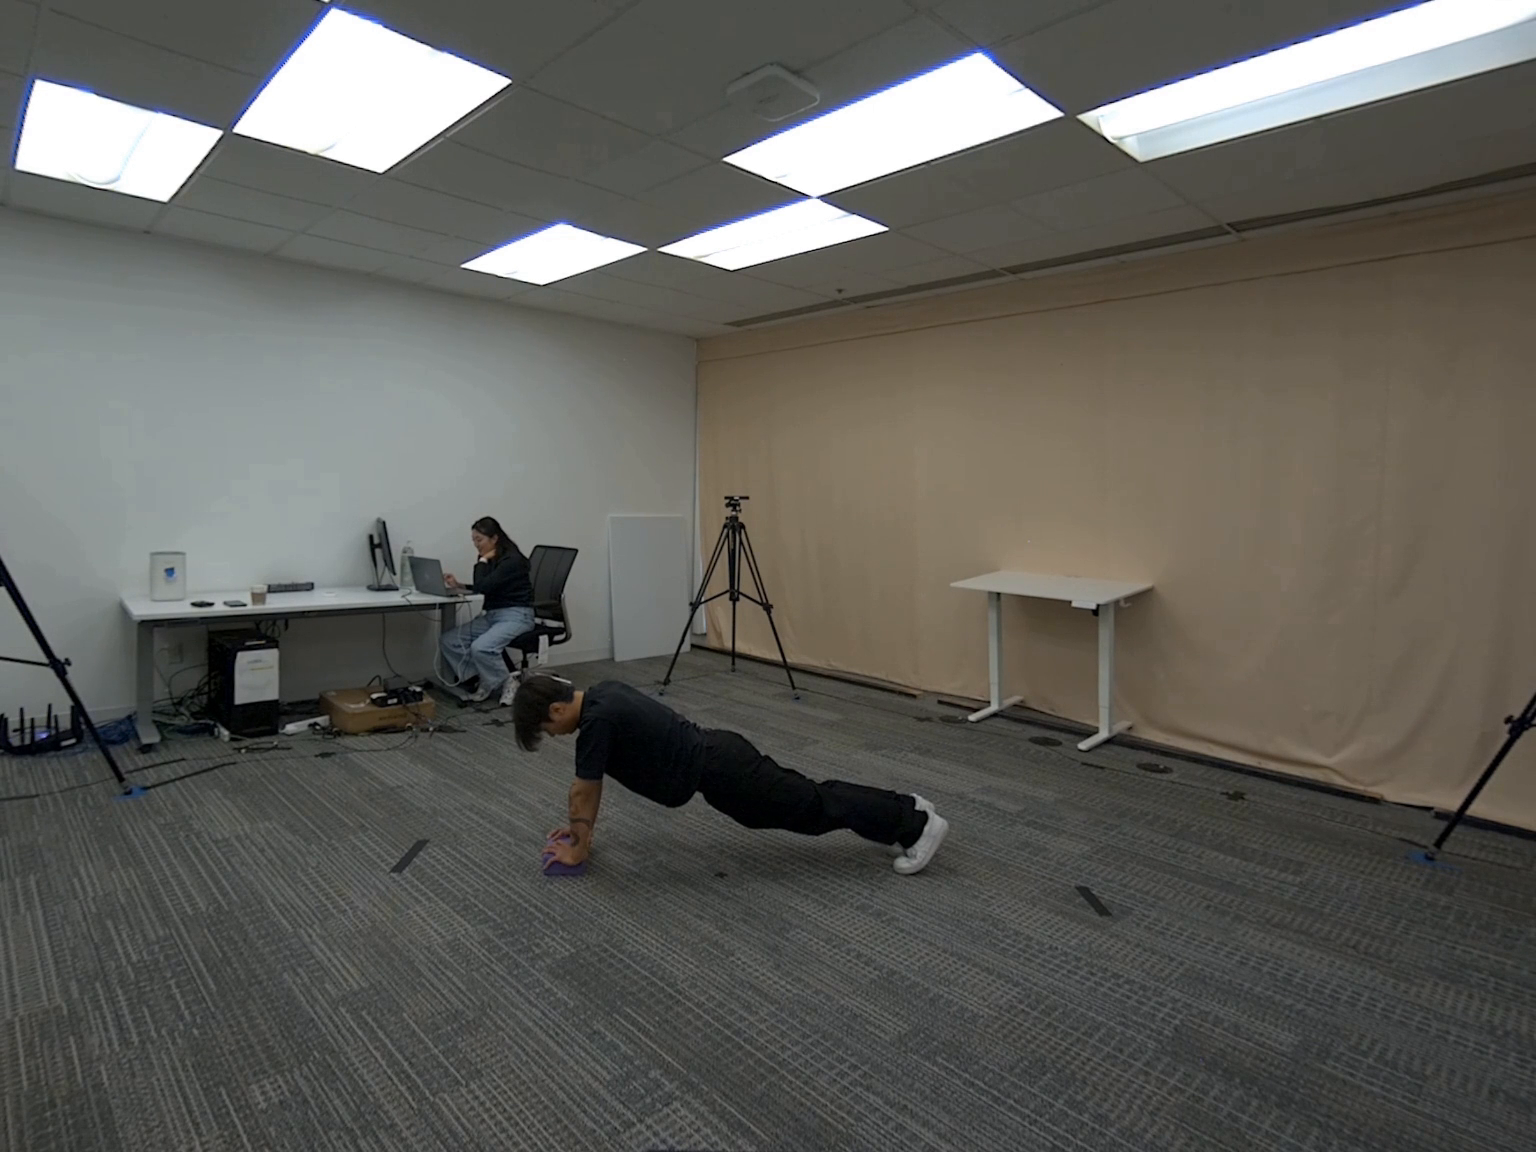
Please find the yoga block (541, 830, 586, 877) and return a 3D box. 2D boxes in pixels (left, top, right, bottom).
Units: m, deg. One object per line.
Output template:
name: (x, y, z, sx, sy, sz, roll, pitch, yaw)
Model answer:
yoga block: (-0.763, 1.044, 3.178, 0.148, 0.076, 0.231, 1, 7, -7)
